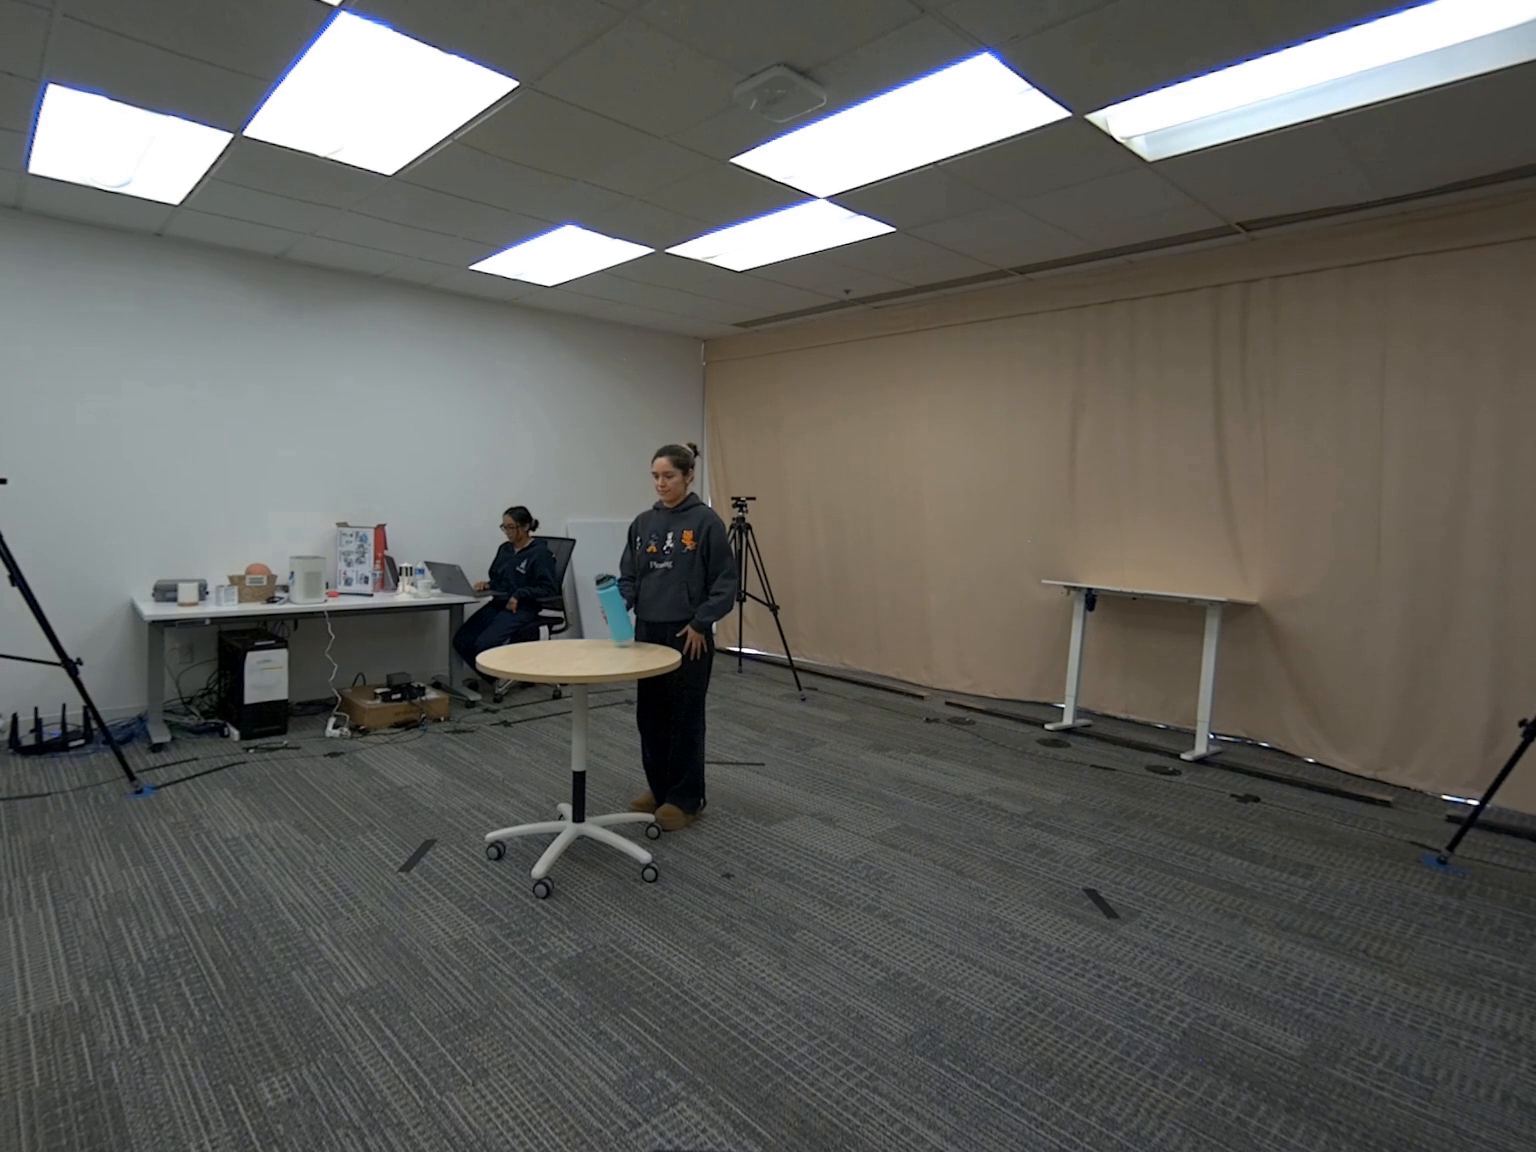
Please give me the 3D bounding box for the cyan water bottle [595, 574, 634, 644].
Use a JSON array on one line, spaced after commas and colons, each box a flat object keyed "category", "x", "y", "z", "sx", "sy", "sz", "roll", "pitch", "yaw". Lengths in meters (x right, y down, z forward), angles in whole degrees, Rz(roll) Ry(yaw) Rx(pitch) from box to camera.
[{"category": "cyan water bottle", "x": -0.633, "y": 0.123, "z": 3.390, "sx": 0.092, "sy": 0.280, "sz": 0.093, "roll": -14, "pitch": 13, "yaw": 2}]
